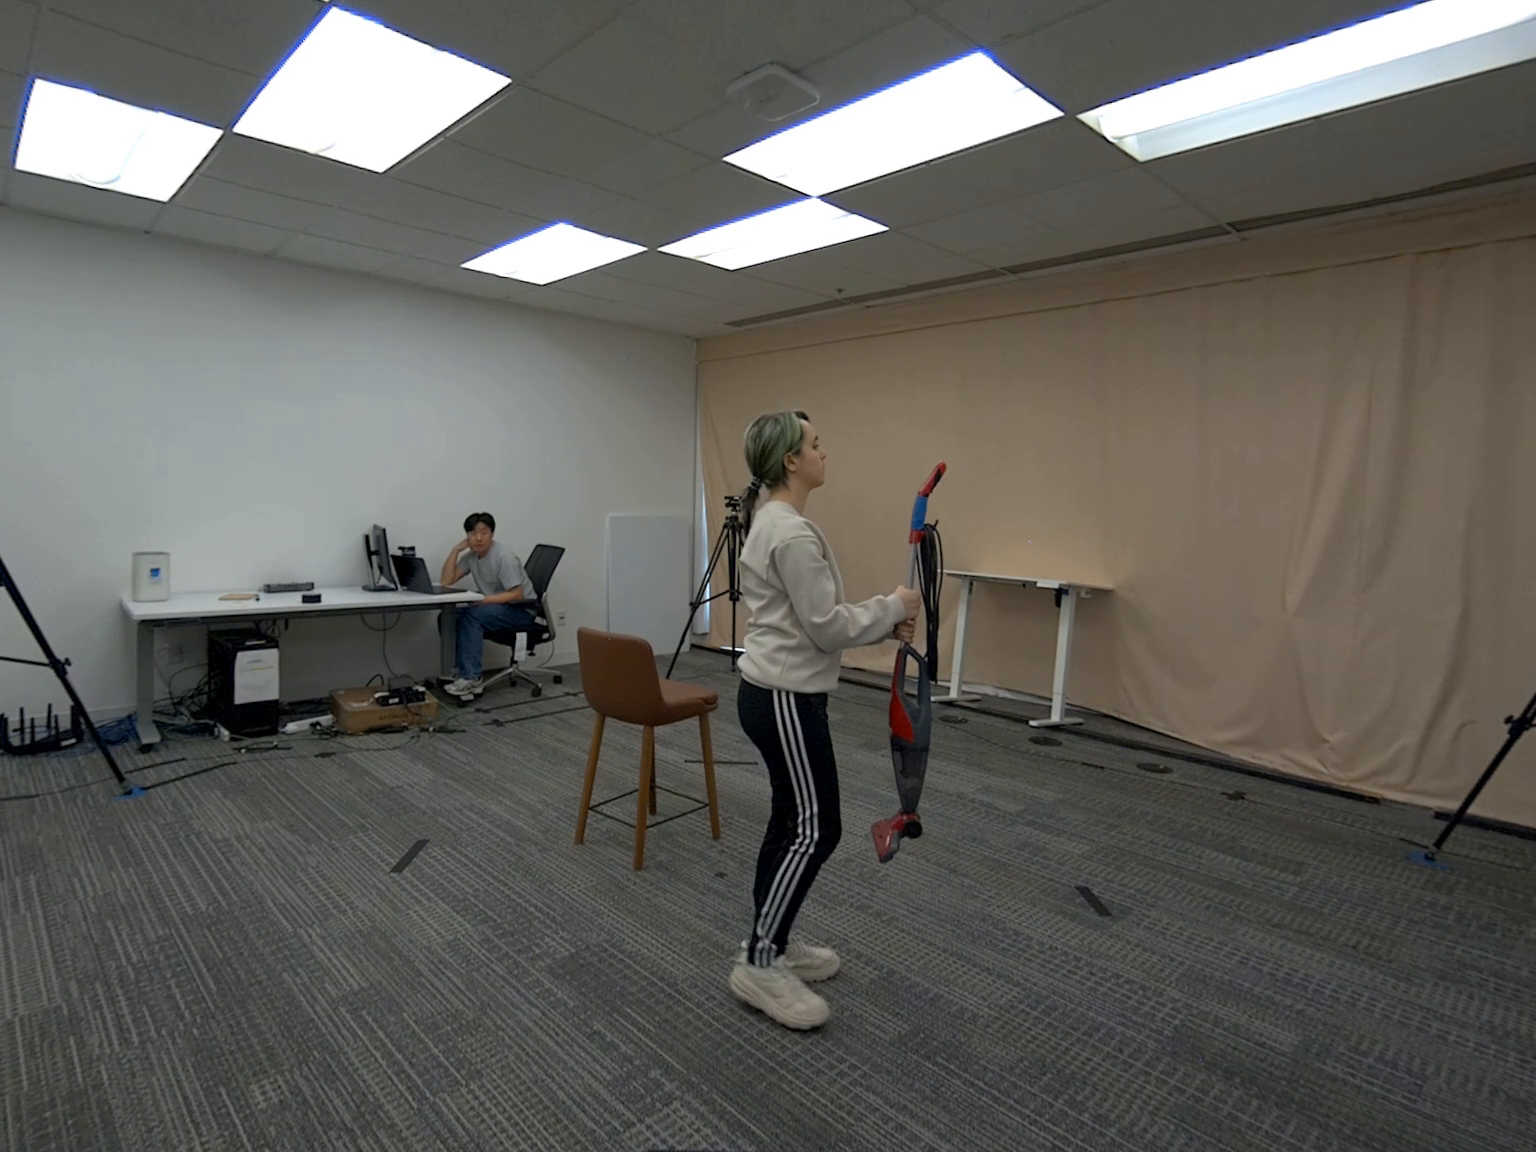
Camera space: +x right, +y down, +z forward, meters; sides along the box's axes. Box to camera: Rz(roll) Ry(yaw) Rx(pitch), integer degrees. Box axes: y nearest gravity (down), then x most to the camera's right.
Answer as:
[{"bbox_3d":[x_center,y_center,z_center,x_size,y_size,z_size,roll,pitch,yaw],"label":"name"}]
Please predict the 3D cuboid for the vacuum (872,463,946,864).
[{"bbox_3d":[0.430,0.208,2.376,0.145,1.049,0.251,8,0,6],"label":"vacuum"}]
